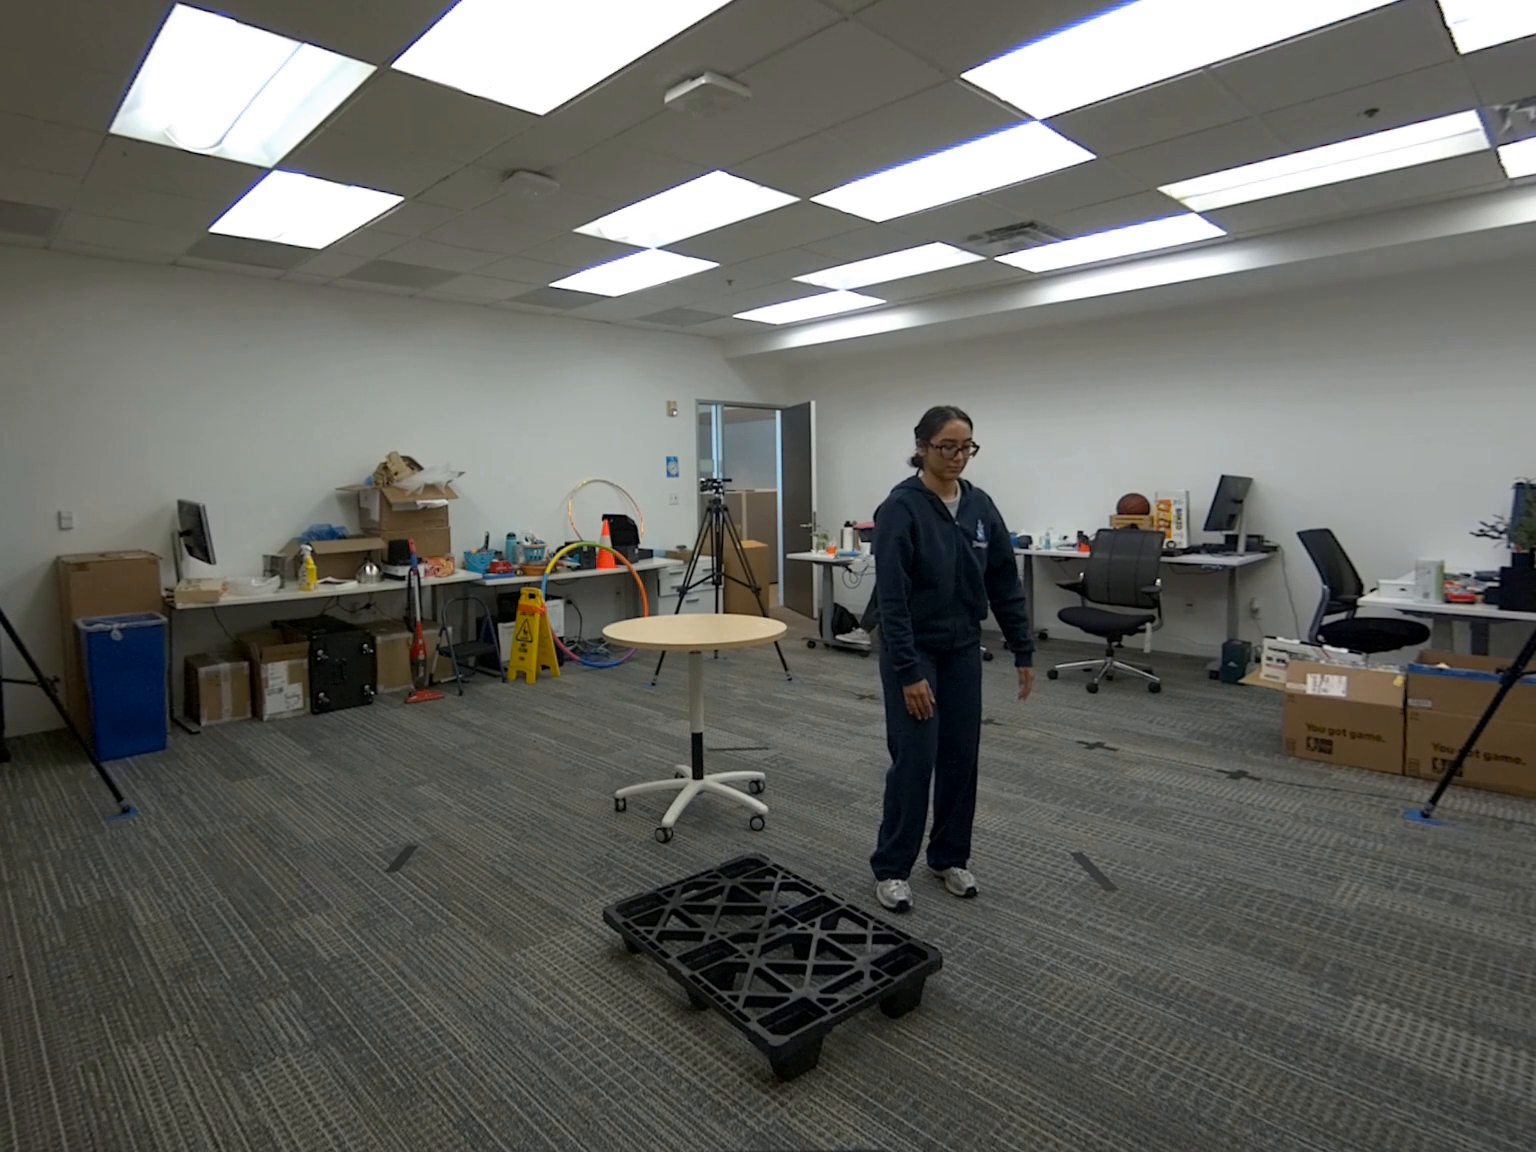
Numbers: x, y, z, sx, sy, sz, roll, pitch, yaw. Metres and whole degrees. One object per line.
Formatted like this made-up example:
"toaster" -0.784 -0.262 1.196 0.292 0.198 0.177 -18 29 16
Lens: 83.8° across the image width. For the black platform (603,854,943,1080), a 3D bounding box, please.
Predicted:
"black platform" -0.011 1.061 2.408 0.589 0.142 0.831 -6 8 -38
